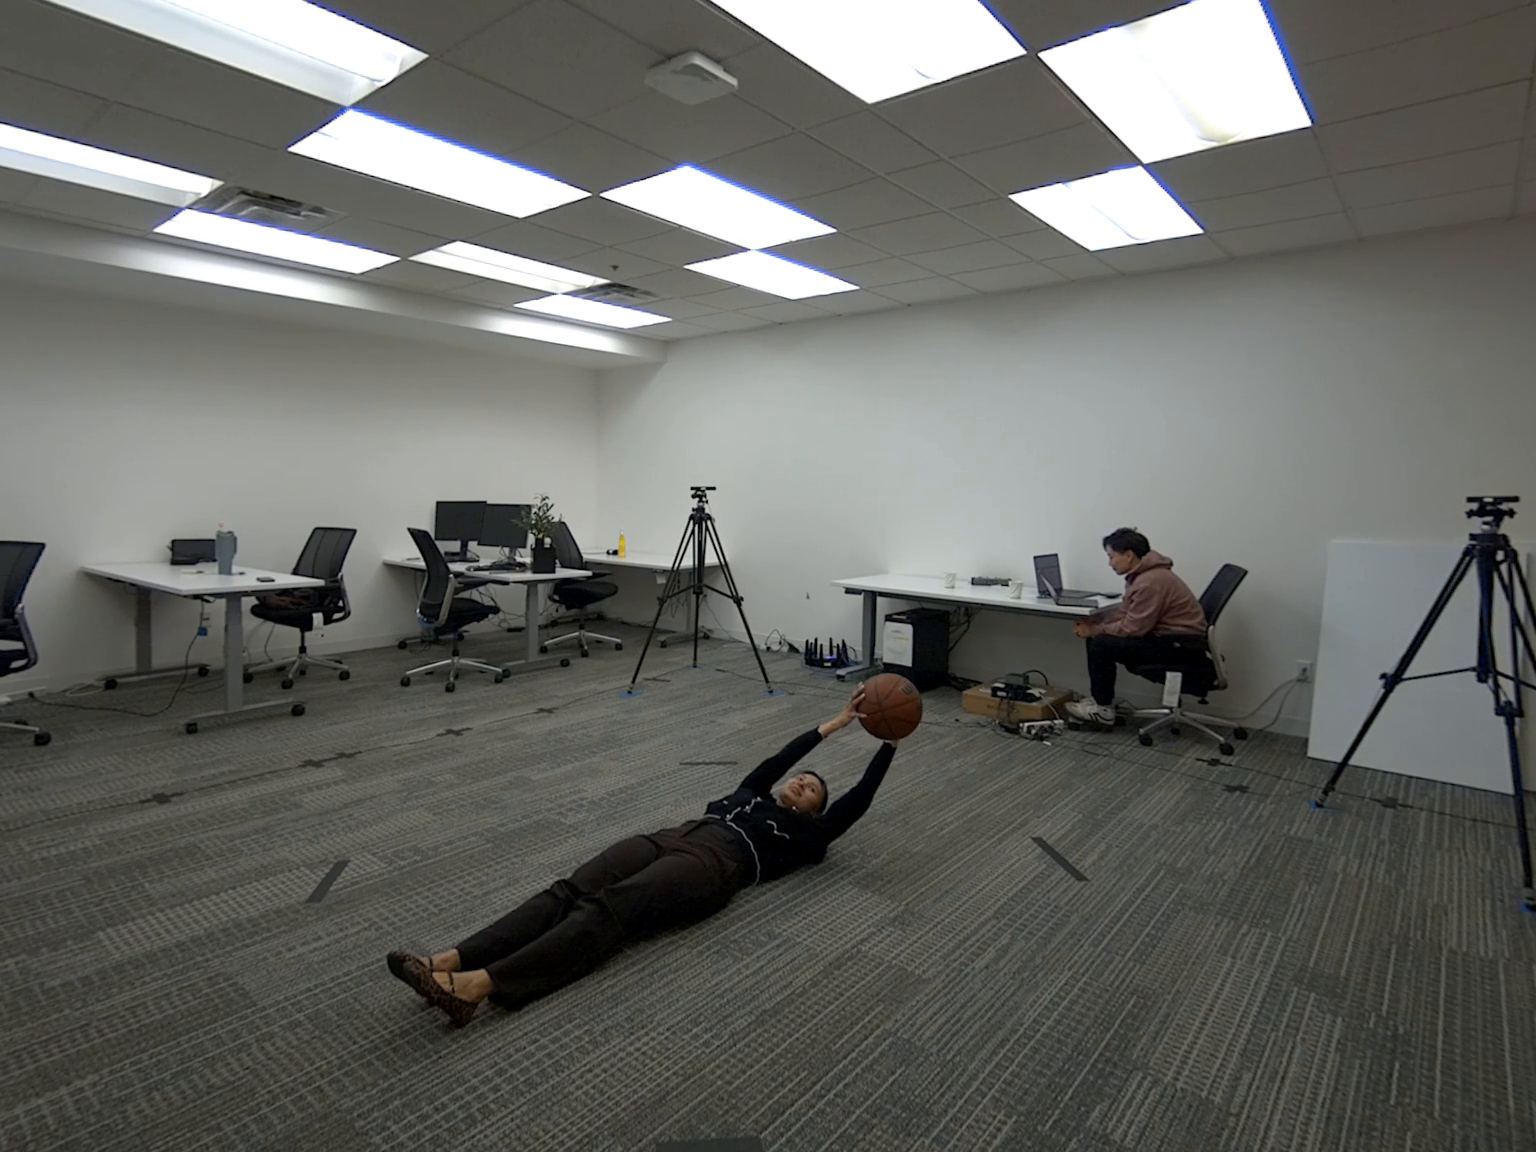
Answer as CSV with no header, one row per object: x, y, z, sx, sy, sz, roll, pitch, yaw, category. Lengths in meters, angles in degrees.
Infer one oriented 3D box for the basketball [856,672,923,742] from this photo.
0.423,0.471,3.052,0.236,0.235,0.237,1,4,-2,basketball
